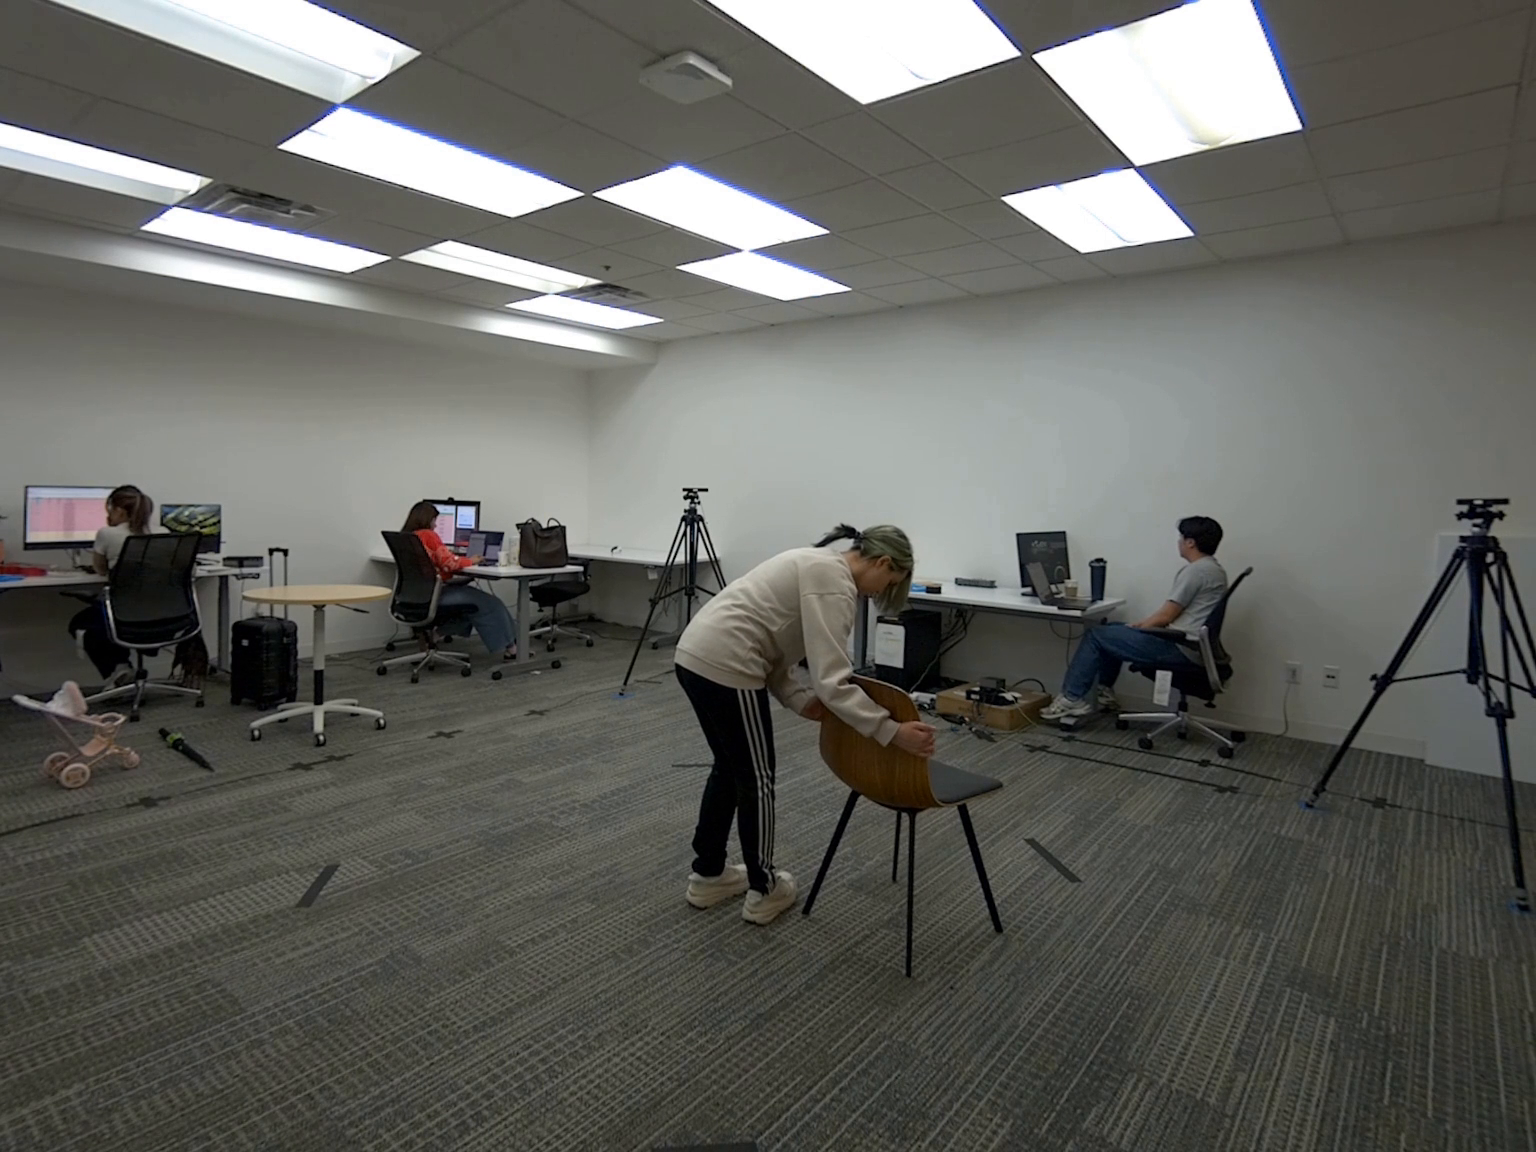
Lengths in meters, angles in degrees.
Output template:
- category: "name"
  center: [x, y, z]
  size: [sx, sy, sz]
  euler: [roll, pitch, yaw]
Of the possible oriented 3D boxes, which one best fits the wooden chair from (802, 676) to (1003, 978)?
- category: "wooden chair"
  center: [0.444, 0.696, 2.728]
  size: [0.508, 0.873, 0.494]
  euler: [-6, 7, -39]
